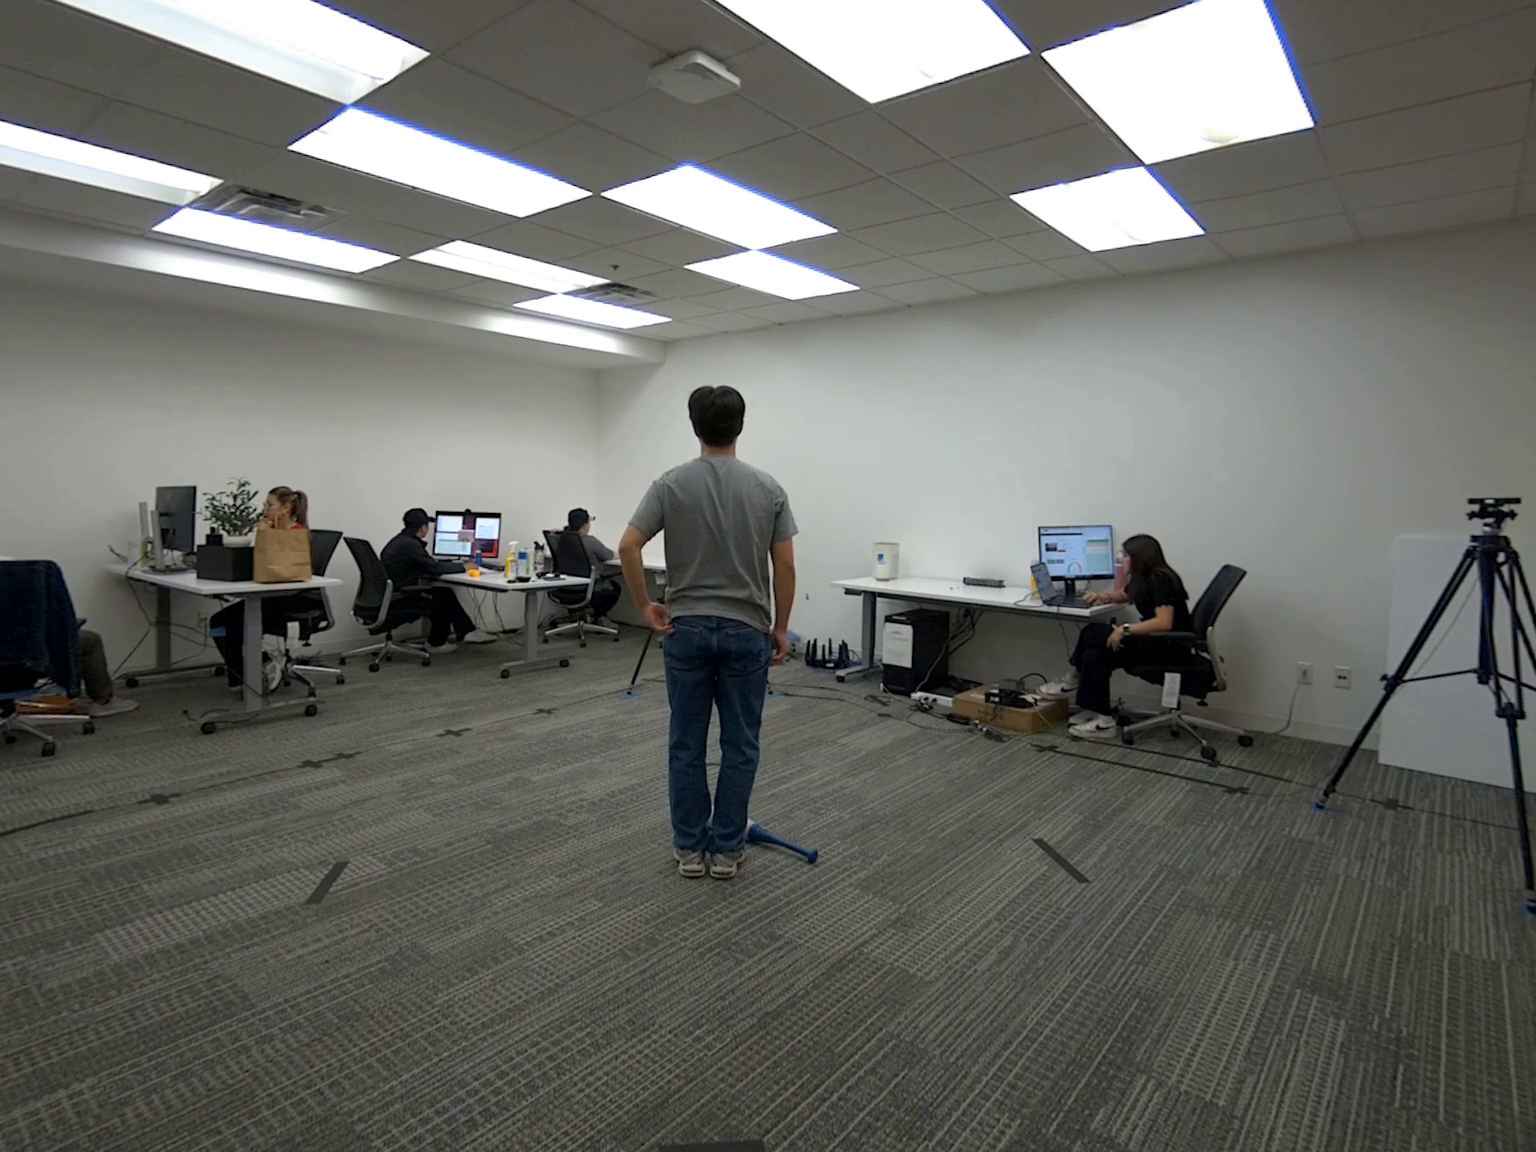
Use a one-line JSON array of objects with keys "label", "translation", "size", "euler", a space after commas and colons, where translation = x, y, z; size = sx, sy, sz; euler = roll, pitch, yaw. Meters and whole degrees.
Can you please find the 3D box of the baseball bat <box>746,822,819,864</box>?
[{"label": "baseball bat", "translation": [-0.050, 1.012, 3.337], "size": [0.562, 0.088, 0.086], "euler": [9, 8, 37]}]
